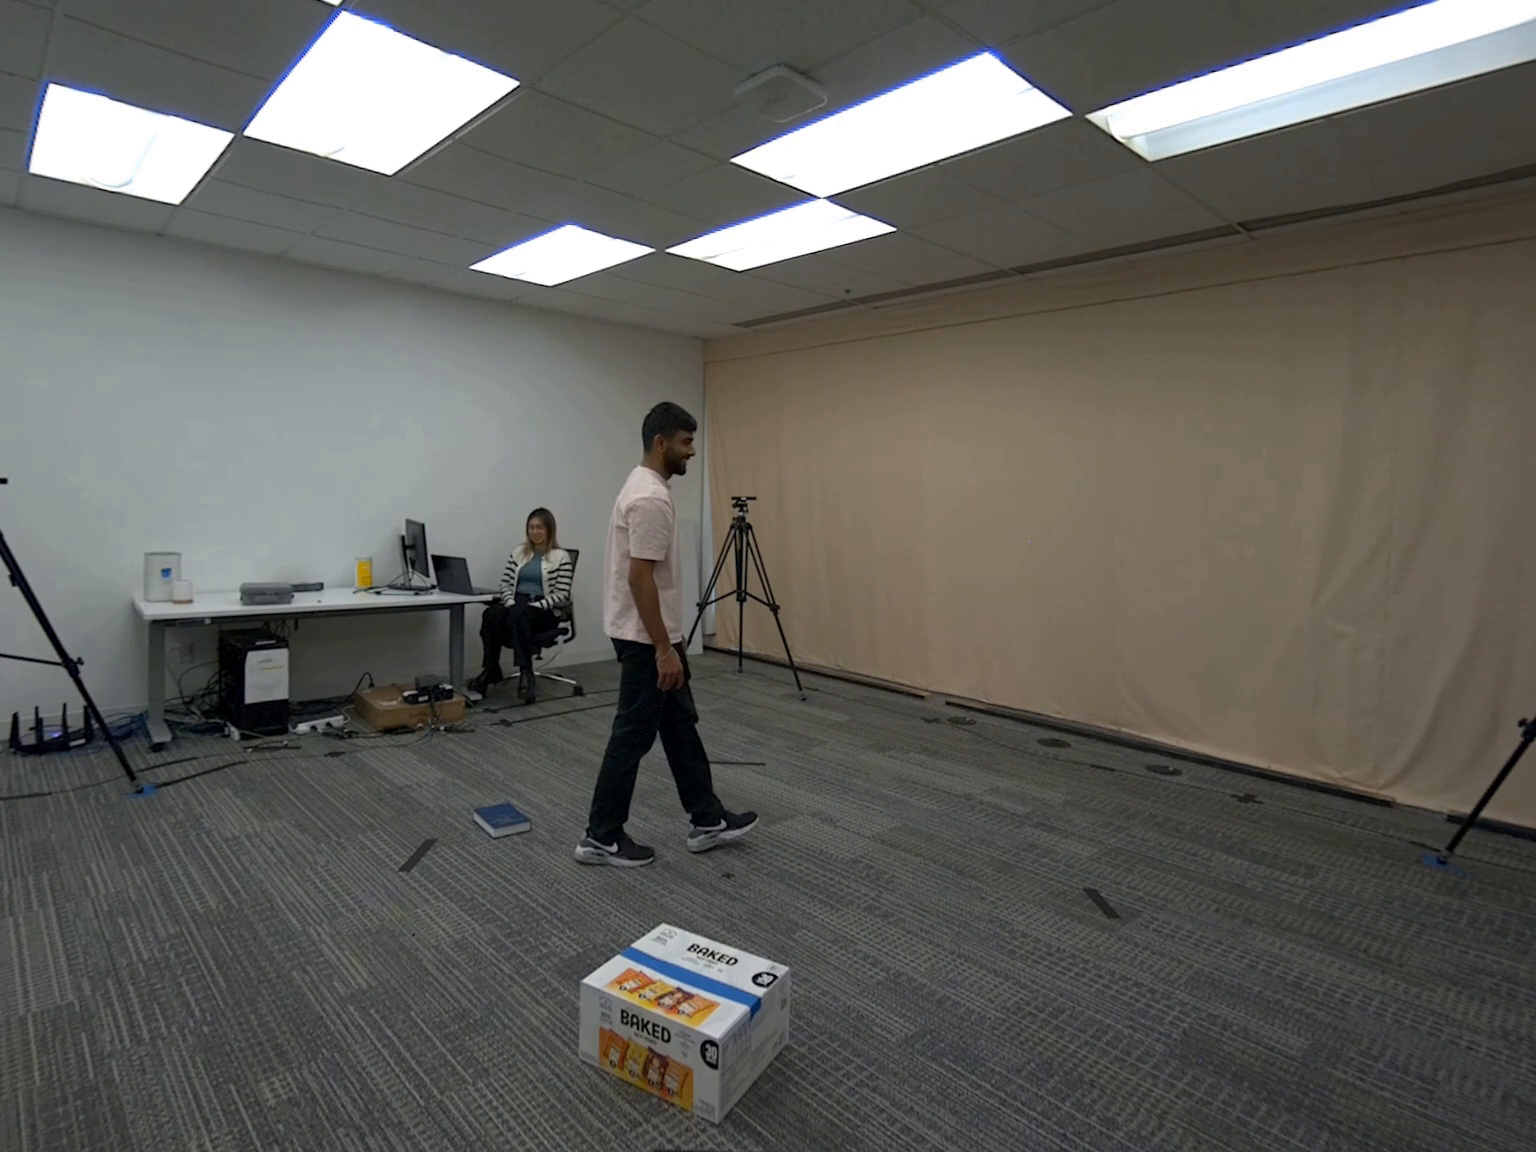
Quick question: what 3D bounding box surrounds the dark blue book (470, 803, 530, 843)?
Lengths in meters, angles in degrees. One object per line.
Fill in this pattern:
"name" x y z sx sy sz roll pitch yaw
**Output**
"dark blue book" -1.122 1.025 3.525 0.160 0.045 0.251 -3 8 -37
